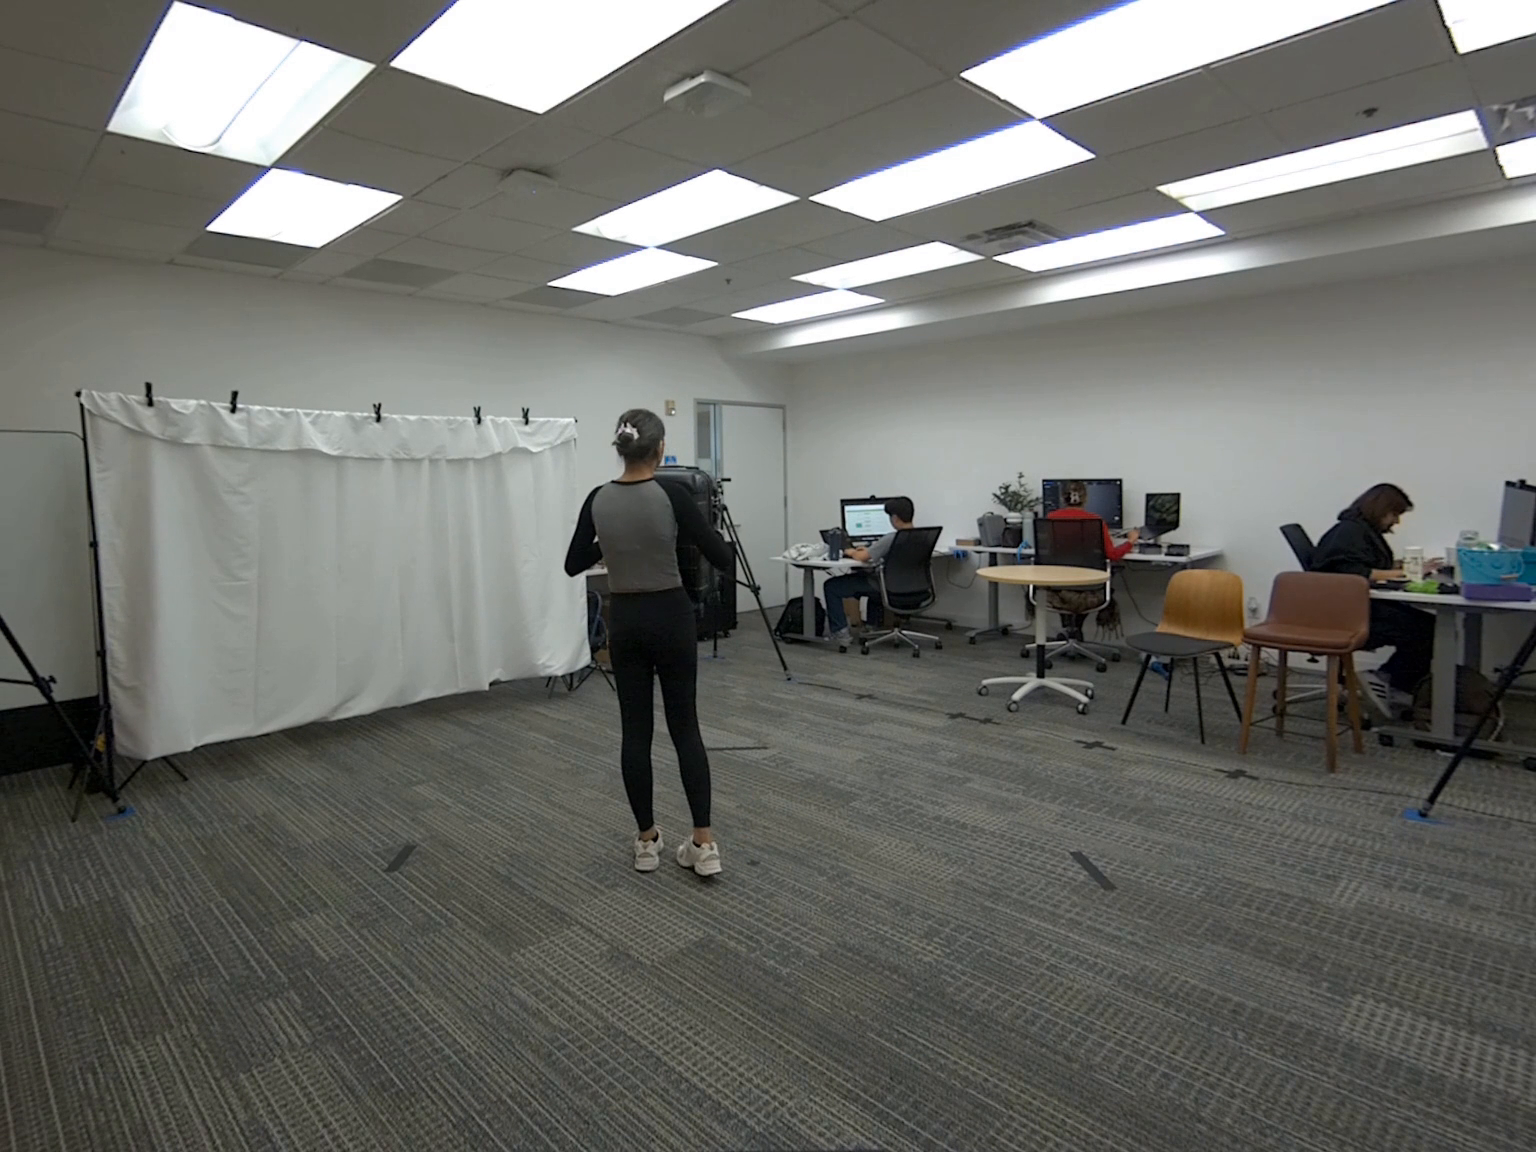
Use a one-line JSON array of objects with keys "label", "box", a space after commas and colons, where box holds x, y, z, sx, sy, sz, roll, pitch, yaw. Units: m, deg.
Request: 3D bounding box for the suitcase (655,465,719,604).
[{"label": "suitcase", "box": [-0.375, -0.153, 3.332, 0.382, 0.545, 0.246, 3, 9, 16]}]
